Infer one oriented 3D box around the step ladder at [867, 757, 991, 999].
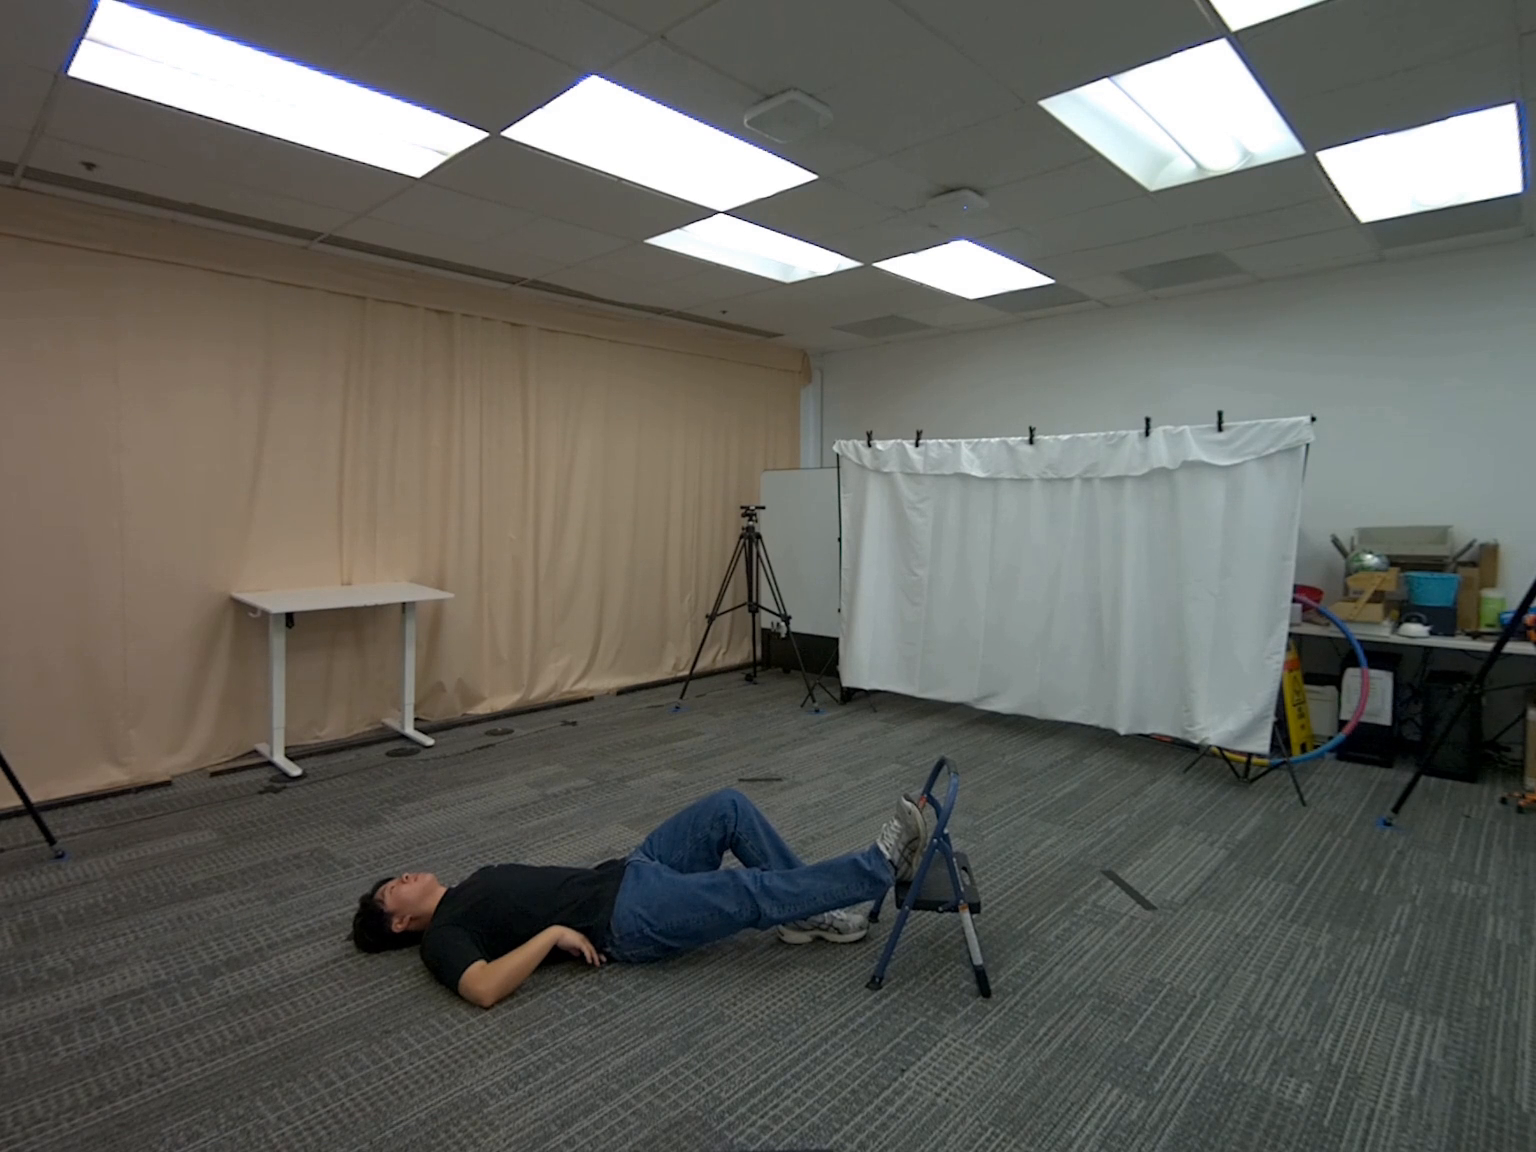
[{"bbox_3d":[0.488,0.876,2.588,0.352,0.605,0.428,1,4,6],"label":"step ladder"}]
